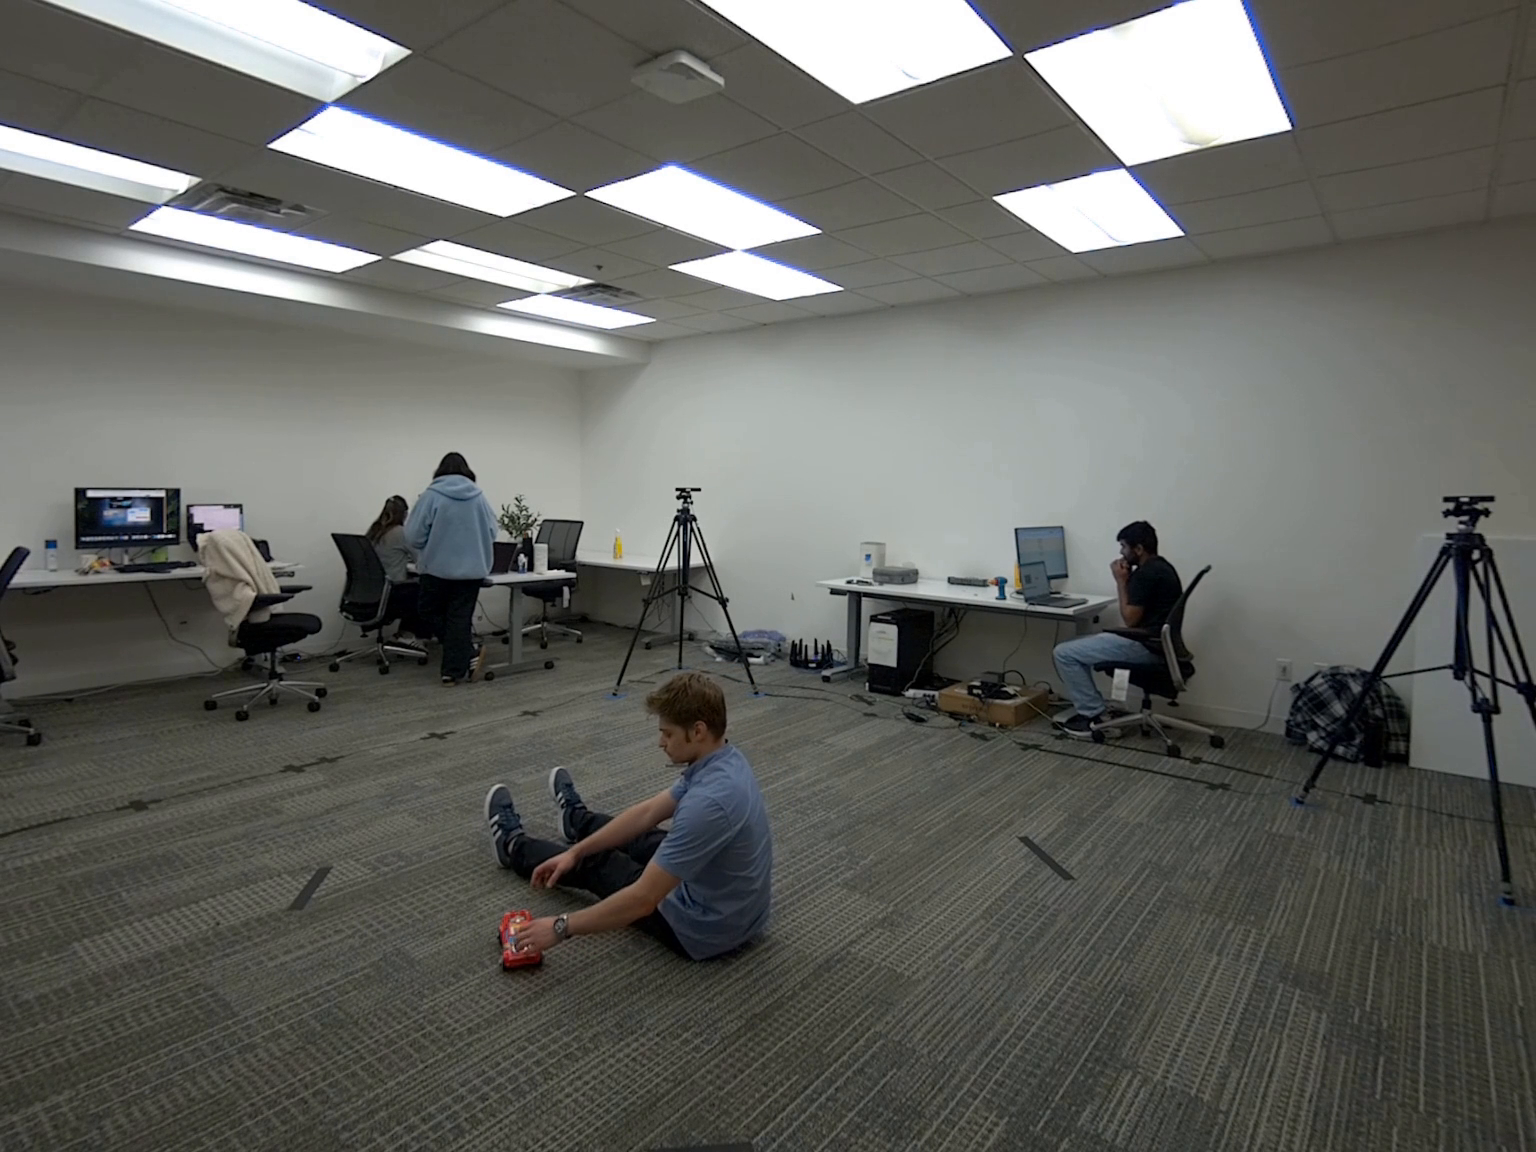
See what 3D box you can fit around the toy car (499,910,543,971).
[{"bbox_3d":[-0.760,1.086,2.546,0.128,0.082,0.262,-2,17,-18],"label":"toy car"}]
